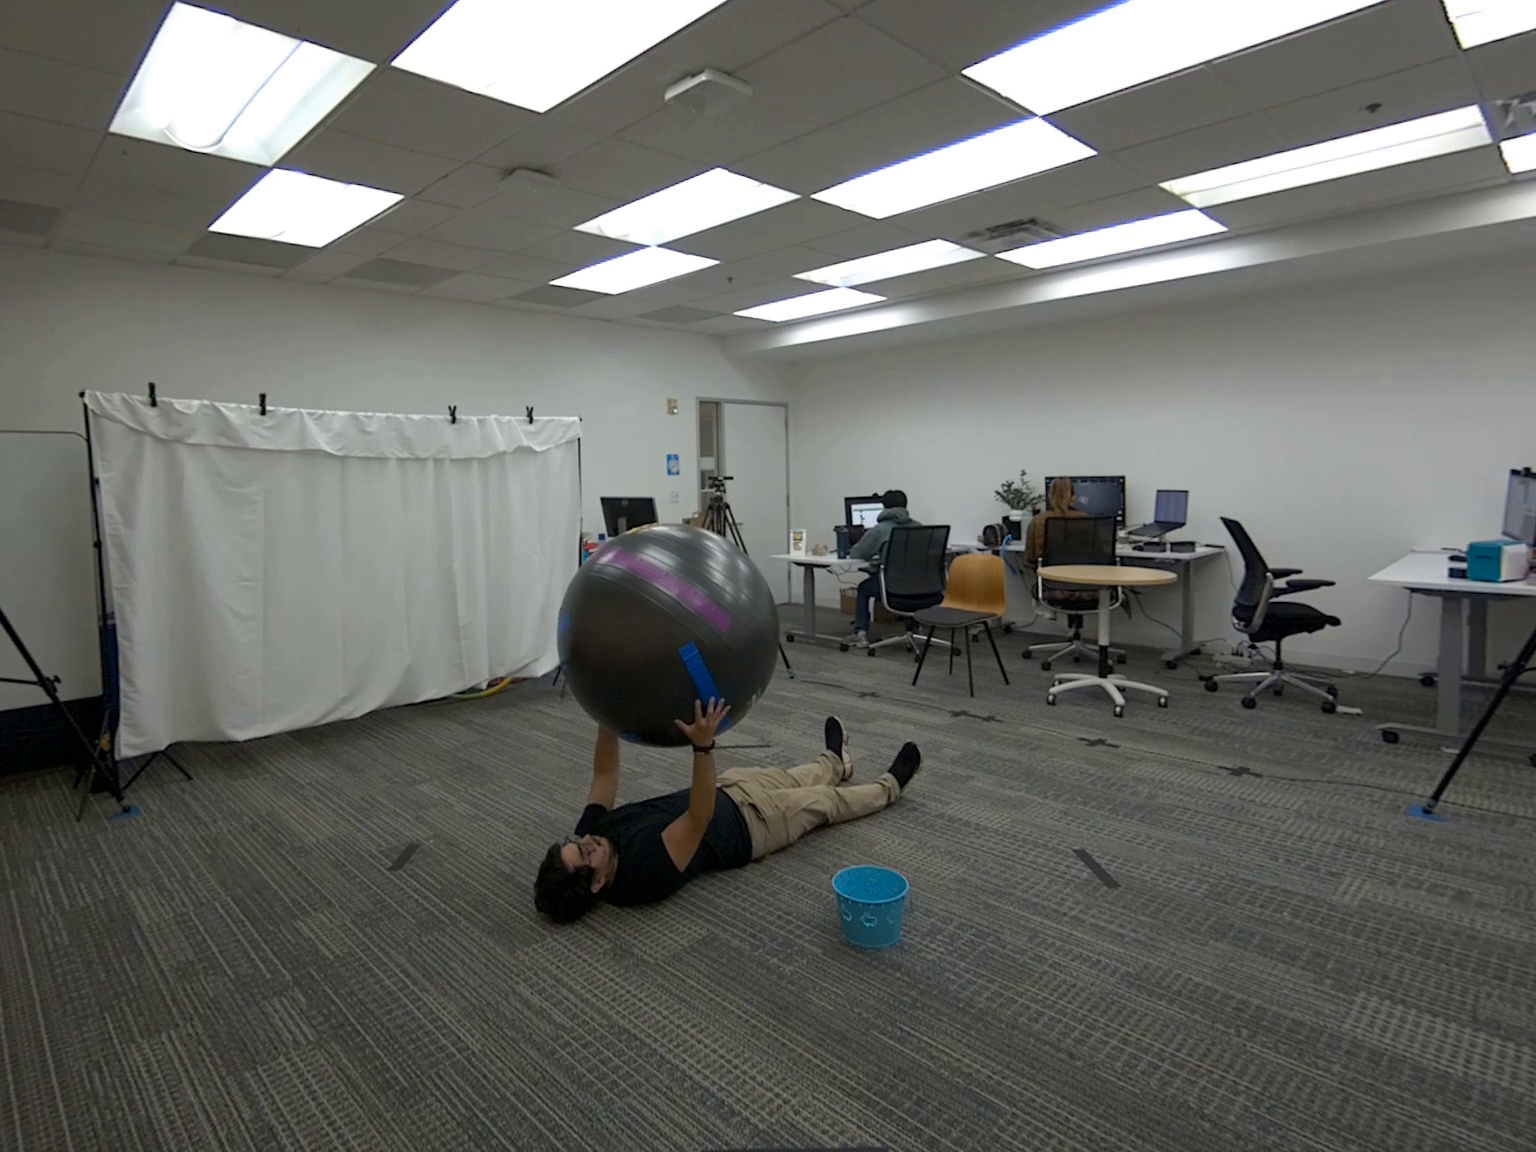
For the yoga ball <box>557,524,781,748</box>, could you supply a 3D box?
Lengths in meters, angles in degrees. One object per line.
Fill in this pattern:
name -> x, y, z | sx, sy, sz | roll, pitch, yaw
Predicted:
yoga ball -> -0.338, 0.208, 2.932 | 0.757, 0.755, 0.761 | -1, 4, -2
